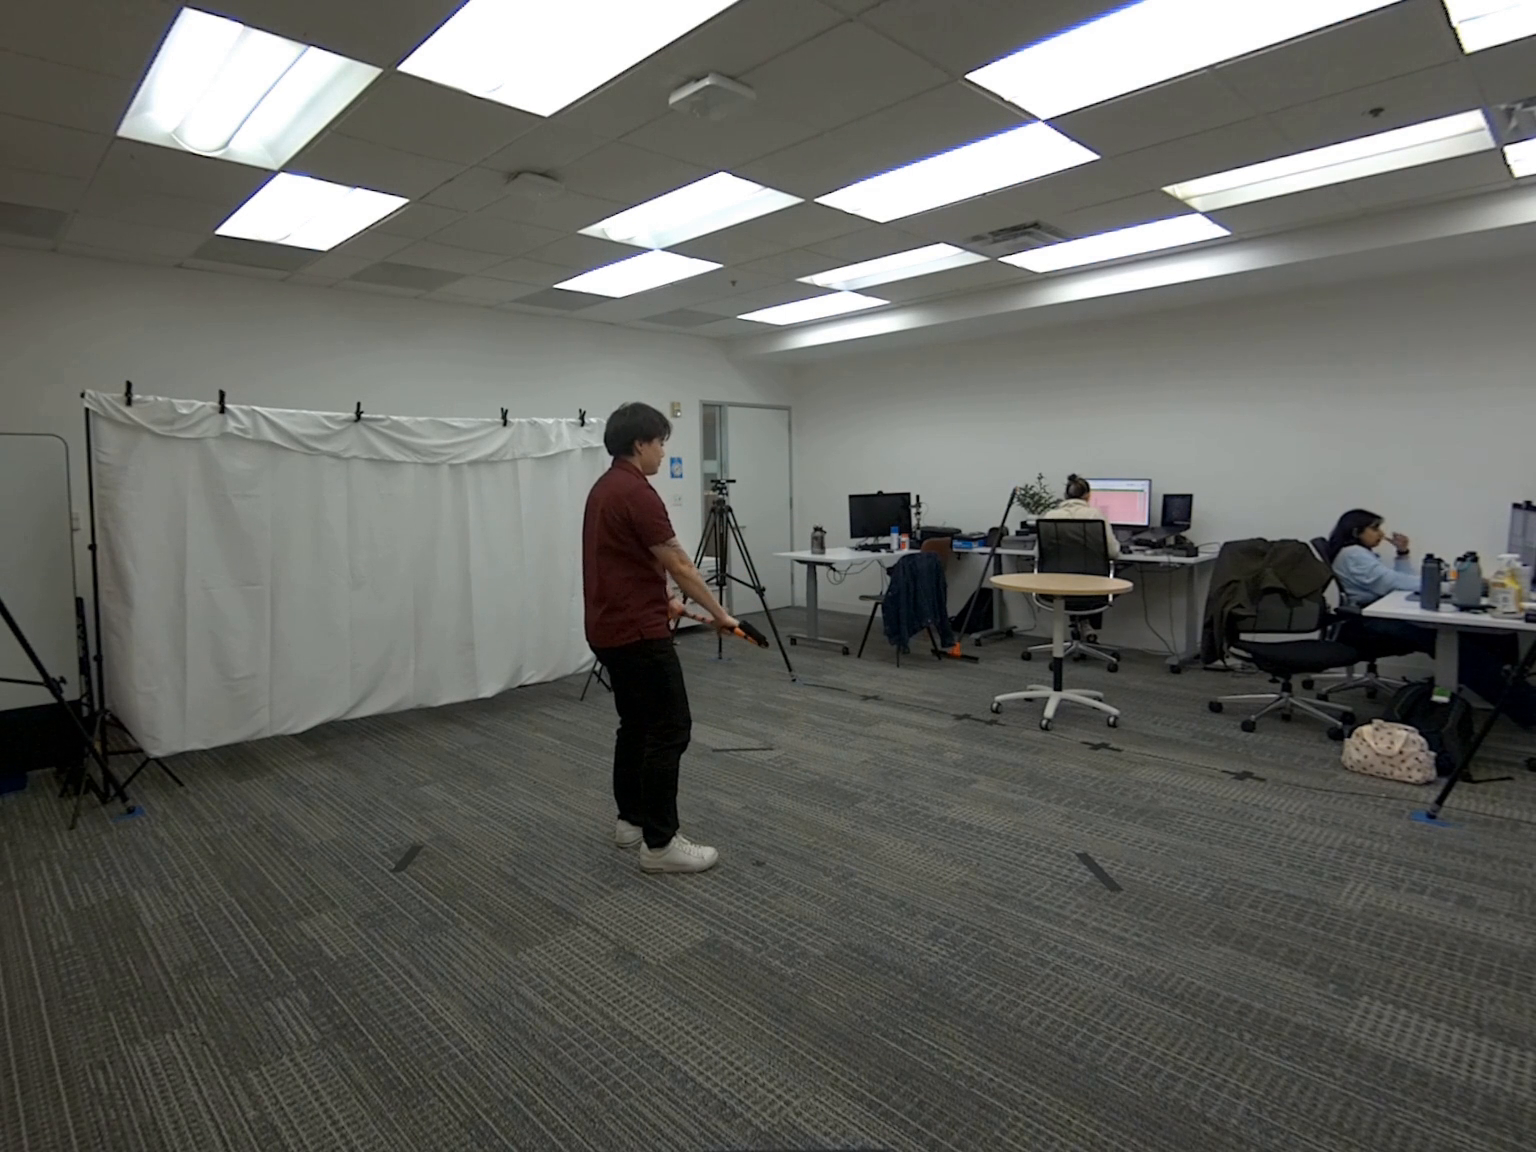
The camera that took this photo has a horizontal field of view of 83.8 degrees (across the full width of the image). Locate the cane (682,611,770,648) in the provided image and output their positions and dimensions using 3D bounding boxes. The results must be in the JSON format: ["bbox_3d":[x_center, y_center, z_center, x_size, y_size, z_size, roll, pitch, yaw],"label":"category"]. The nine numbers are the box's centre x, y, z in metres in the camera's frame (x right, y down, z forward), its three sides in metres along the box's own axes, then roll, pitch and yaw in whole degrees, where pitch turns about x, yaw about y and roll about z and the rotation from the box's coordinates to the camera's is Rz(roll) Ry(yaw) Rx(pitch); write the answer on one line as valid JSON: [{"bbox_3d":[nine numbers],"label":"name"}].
[{"bbox_3d":[-0.237,0.187,3.309,0.201,0.152,0.932,42,-15,-24],"label":"cane"}]
